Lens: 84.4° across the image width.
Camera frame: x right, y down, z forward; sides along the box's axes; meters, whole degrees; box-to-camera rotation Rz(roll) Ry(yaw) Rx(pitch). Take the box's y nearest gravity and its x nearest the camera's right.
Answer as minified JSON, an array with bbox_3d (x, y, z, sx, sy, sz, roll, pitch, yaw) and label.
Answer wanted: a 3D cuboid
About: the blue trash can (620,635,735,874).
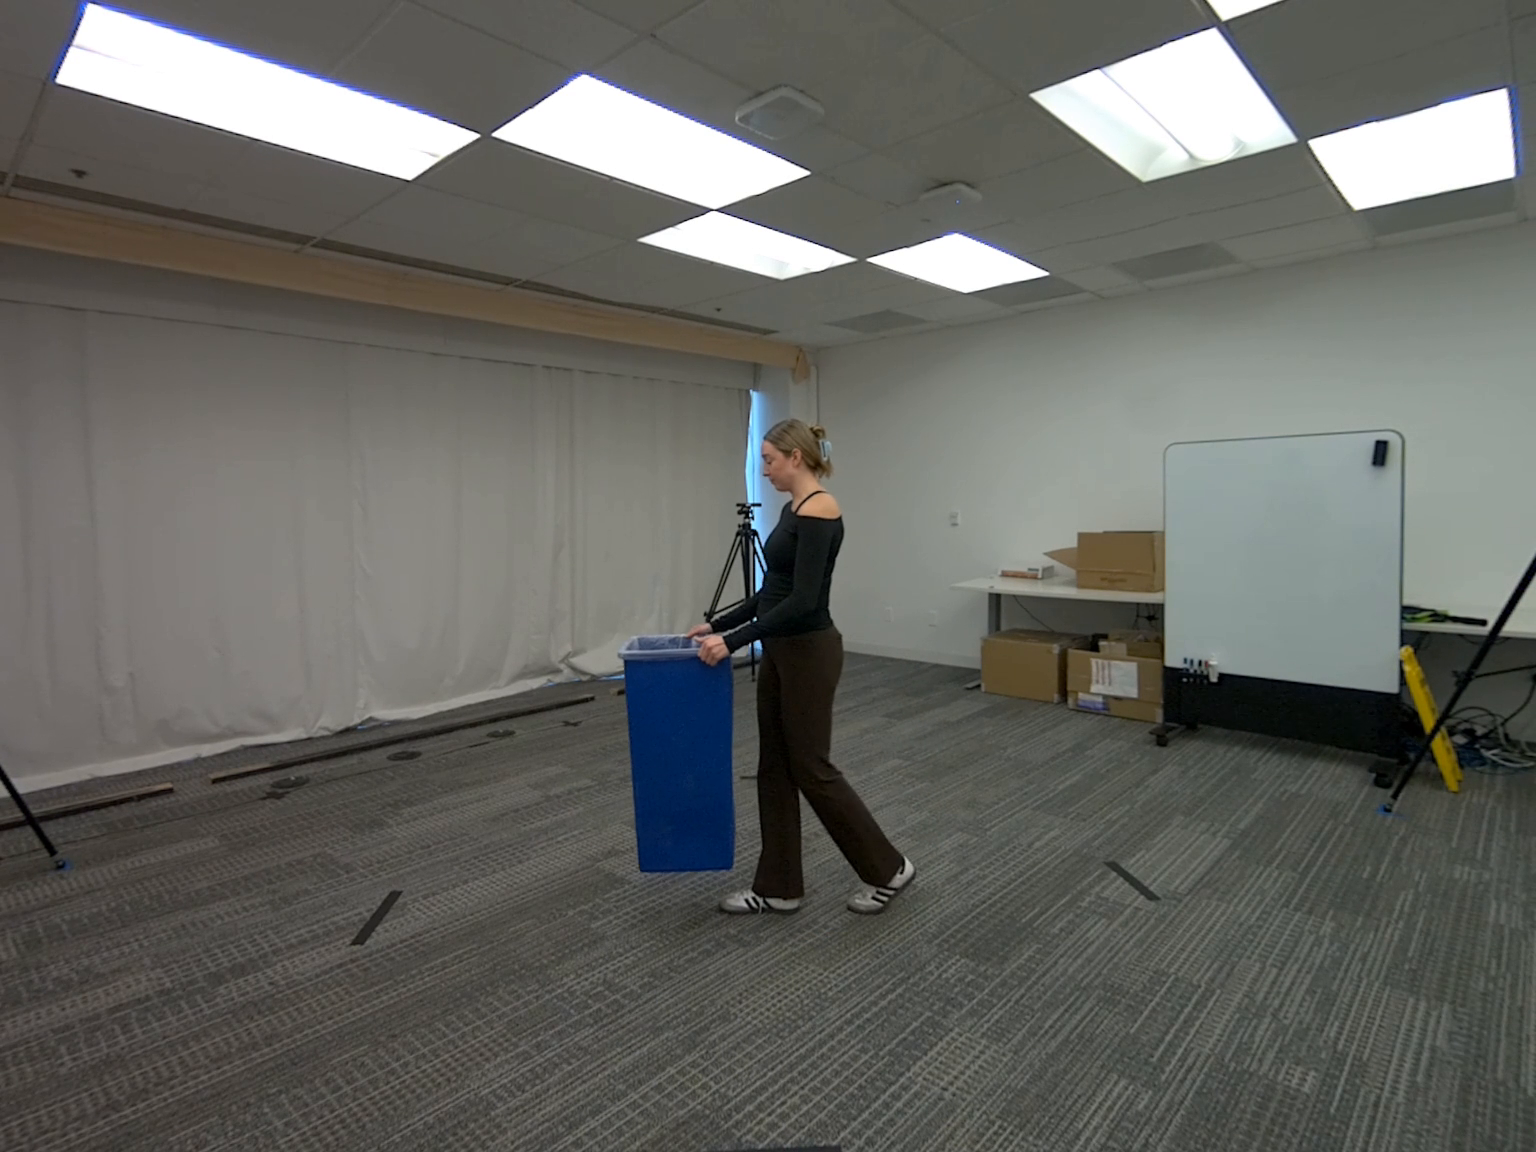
[{"bbox_3d":[-0.274,0.578,2.801,0.378,0.713,0.375,-2,1,-2],"label":"blue trash can"}]
